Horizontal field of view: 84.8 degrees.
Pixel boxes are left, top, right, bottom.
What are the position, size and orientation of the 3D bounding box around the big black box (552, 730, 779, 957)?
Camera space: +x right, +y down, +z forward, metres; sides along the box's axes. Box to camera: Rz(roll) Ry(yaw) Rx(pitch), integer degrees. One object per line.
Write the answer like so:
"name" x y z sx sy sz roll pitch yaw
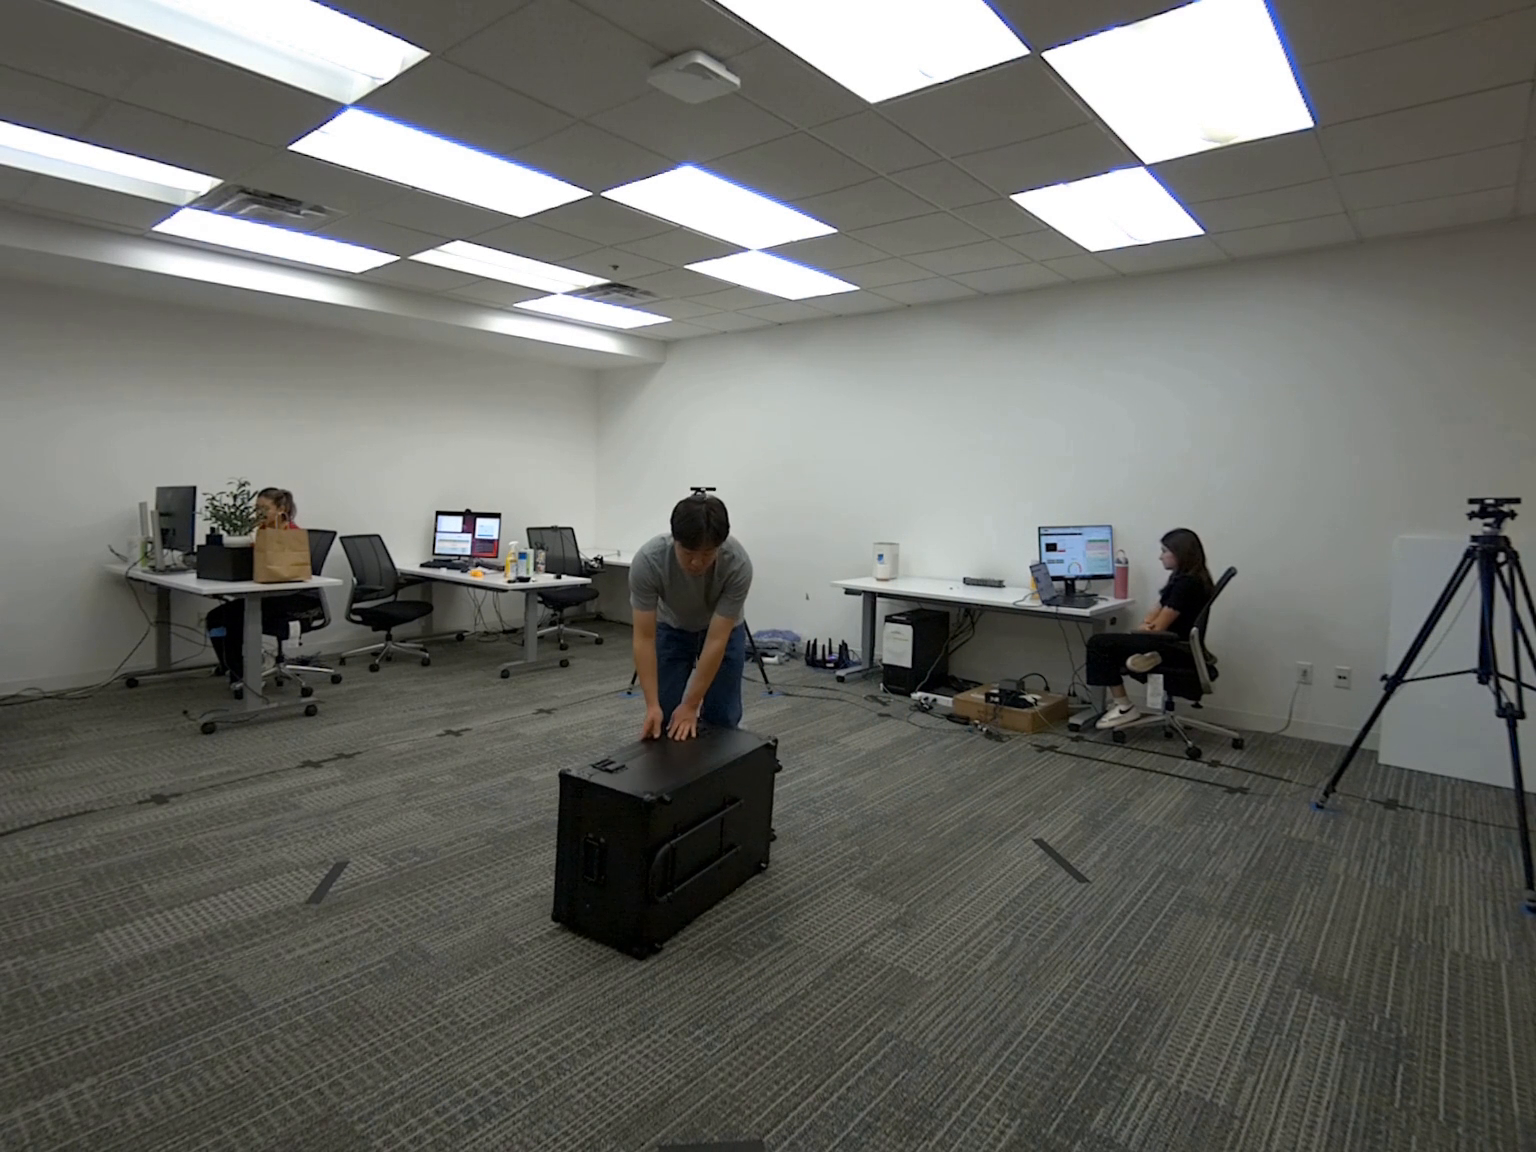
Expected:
"big black box" -0.297 0.825 2.900 0.408 0.519 0.839 7 7 29
